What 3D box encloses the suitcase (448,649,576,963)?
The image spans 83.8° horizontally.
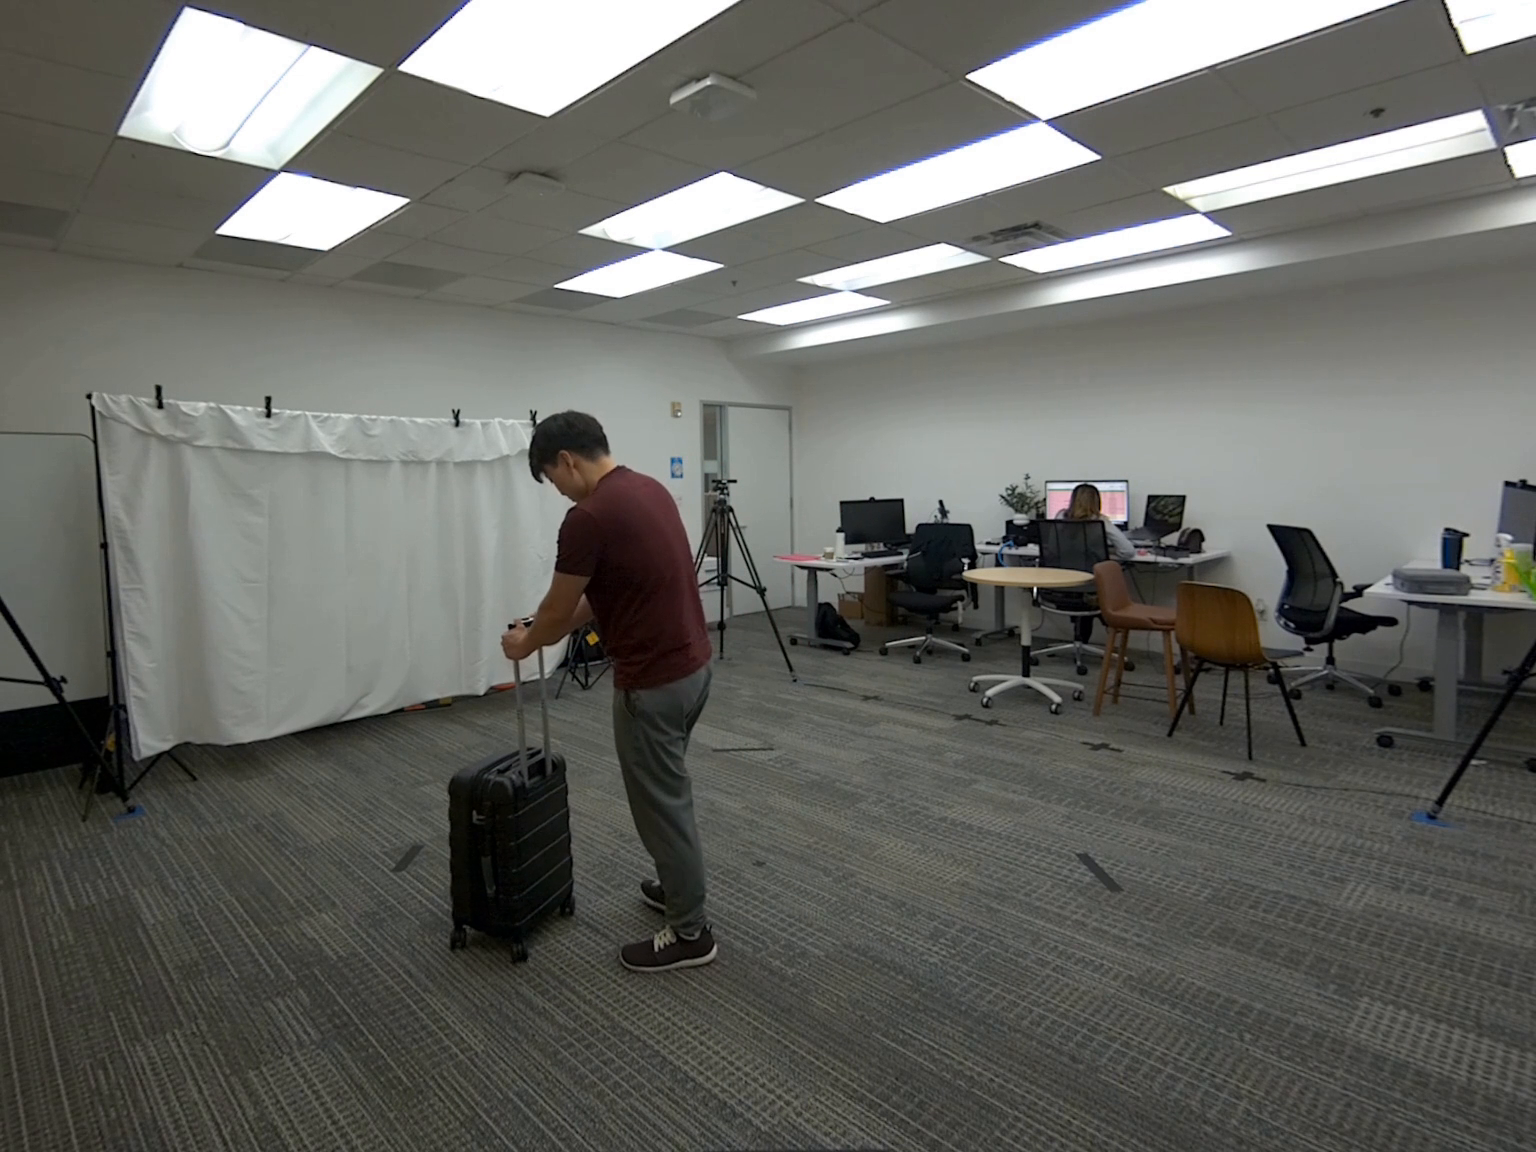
[{"bbox_3d":[-0.823,0.635,2.685,0.261,0.978,0.378,-4,1,18],"label":"suitcase"}]
